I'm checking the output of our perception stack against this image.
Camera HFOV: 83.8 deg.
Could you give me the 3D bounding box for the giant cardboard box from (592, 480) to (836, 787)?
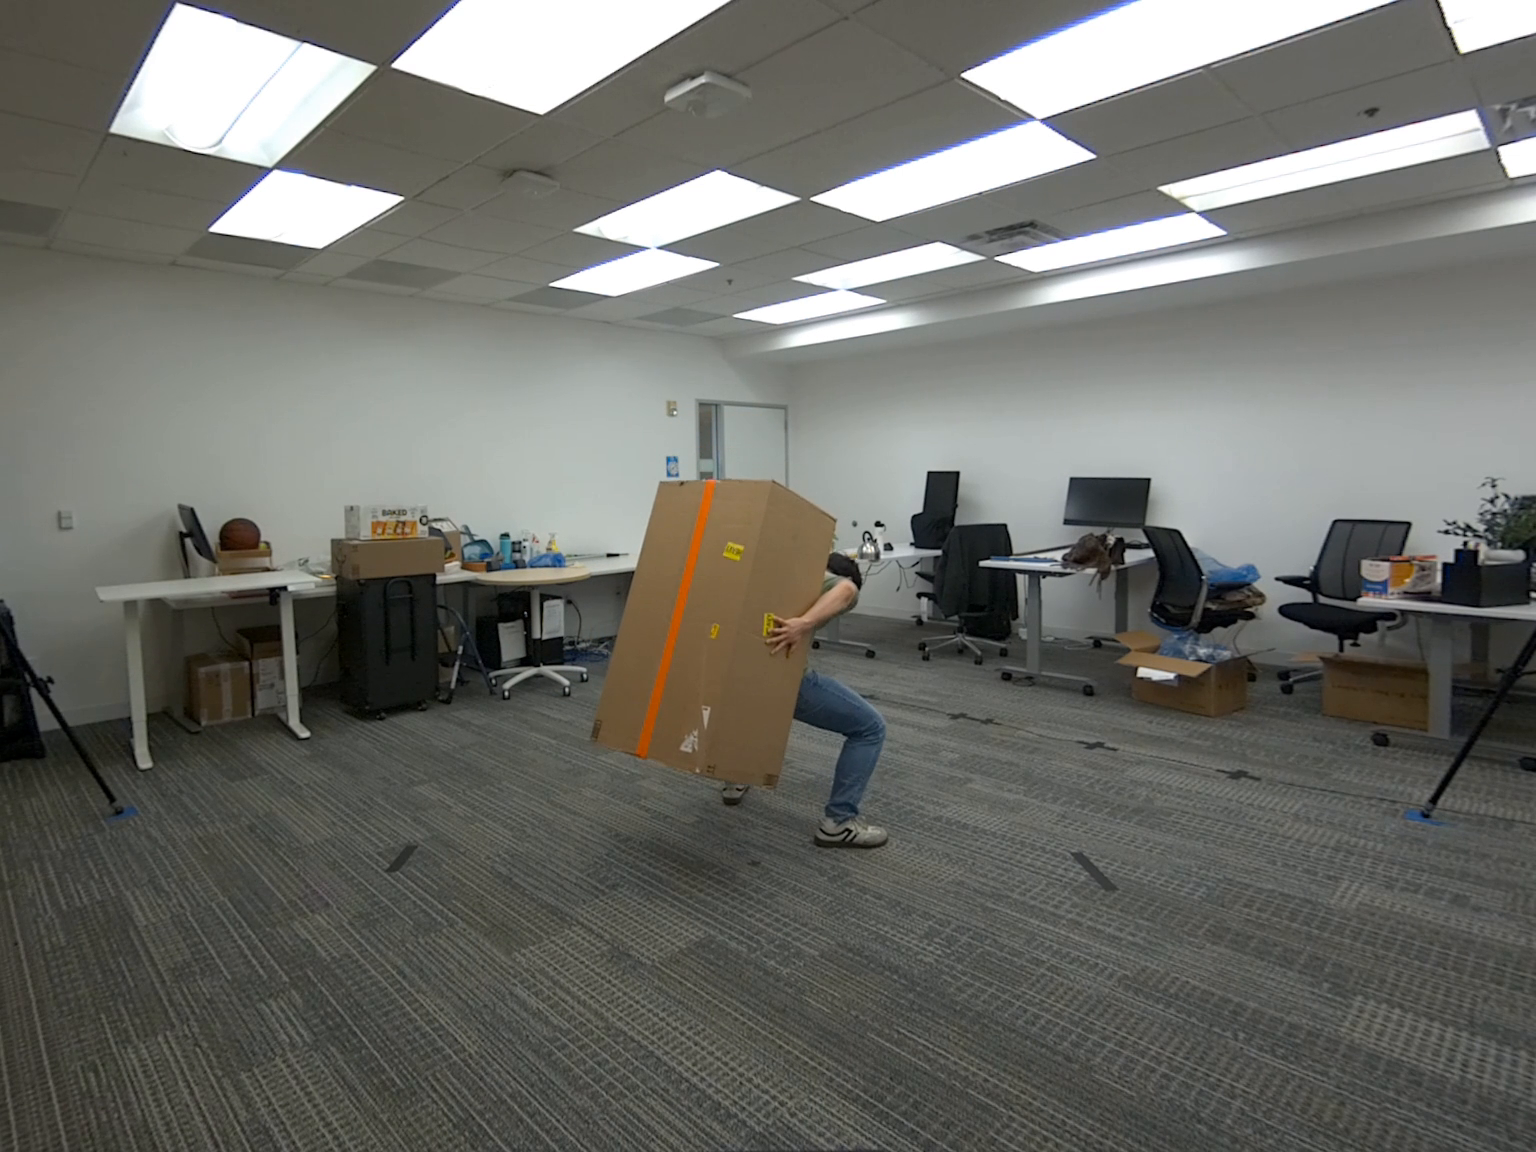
[{"bbox_3d":[-0.198,0.194,3.181,0.595,1.034,0.410,2,-16,42],"label":"giant cardboard box"}]
